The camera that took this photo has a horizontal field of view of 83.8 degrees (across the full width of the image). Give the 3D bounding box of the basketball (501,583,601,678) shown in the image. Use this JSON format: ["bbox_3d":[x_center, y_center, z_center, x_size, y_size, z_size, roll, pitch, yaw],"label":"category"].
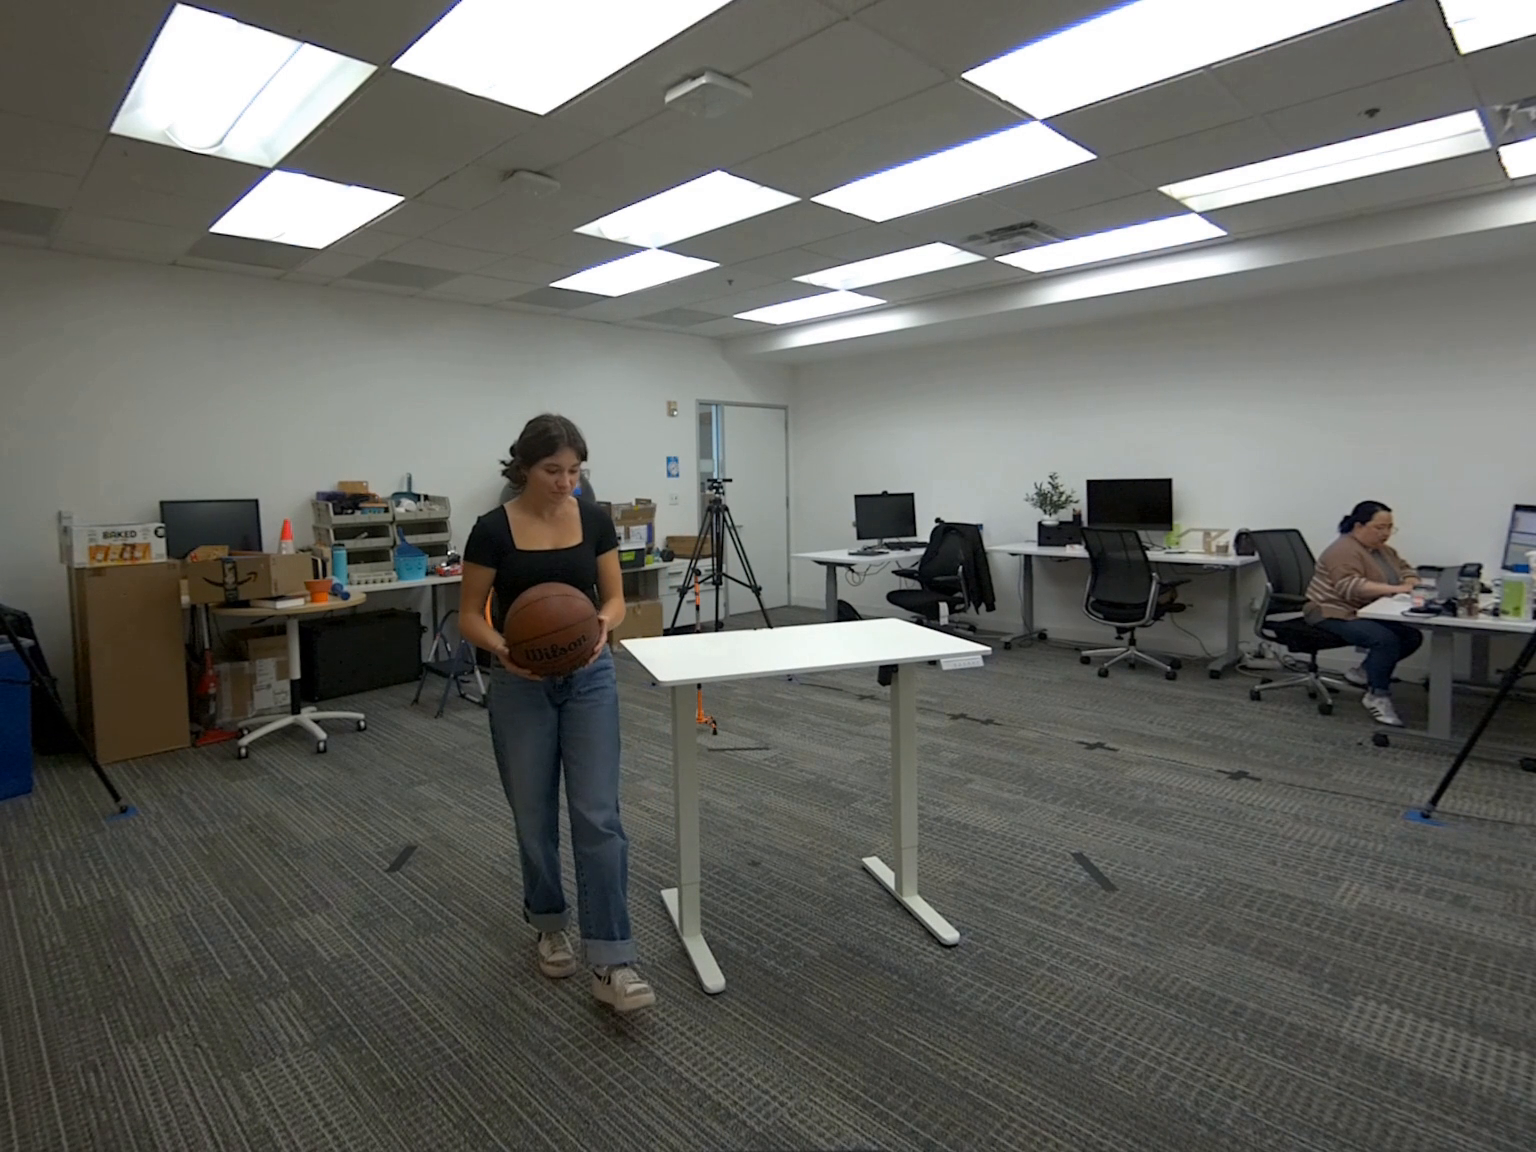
[{"bbox_3d":[-0.545,0.136,2.167,0.236,0.235,0.237,-1,5,-2],"label":"basketball"}]
